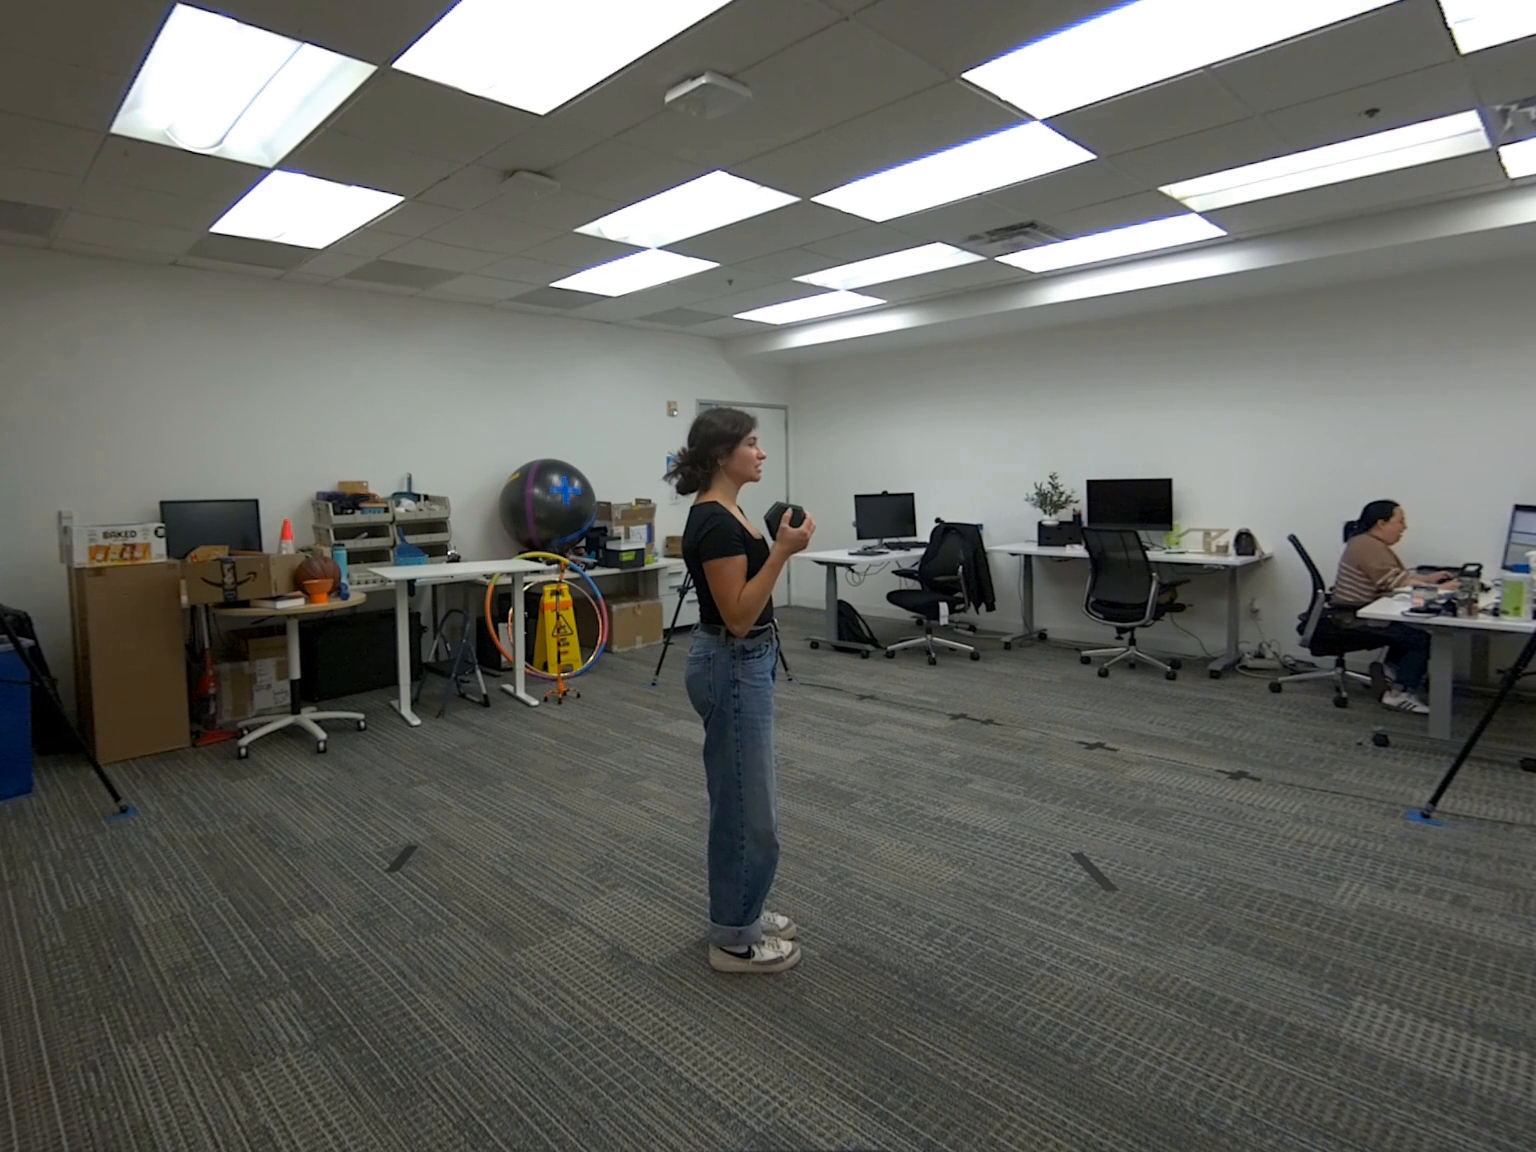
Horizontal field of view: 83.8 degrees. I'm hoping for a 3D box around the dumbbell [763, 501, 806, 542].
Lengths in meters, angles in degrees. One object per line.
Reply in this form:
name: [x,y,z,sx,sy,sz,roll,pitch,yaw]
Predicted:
dumbbell: [0.051,-0.153,2.434,0.109,0.122,0.295,-23,6,0]
